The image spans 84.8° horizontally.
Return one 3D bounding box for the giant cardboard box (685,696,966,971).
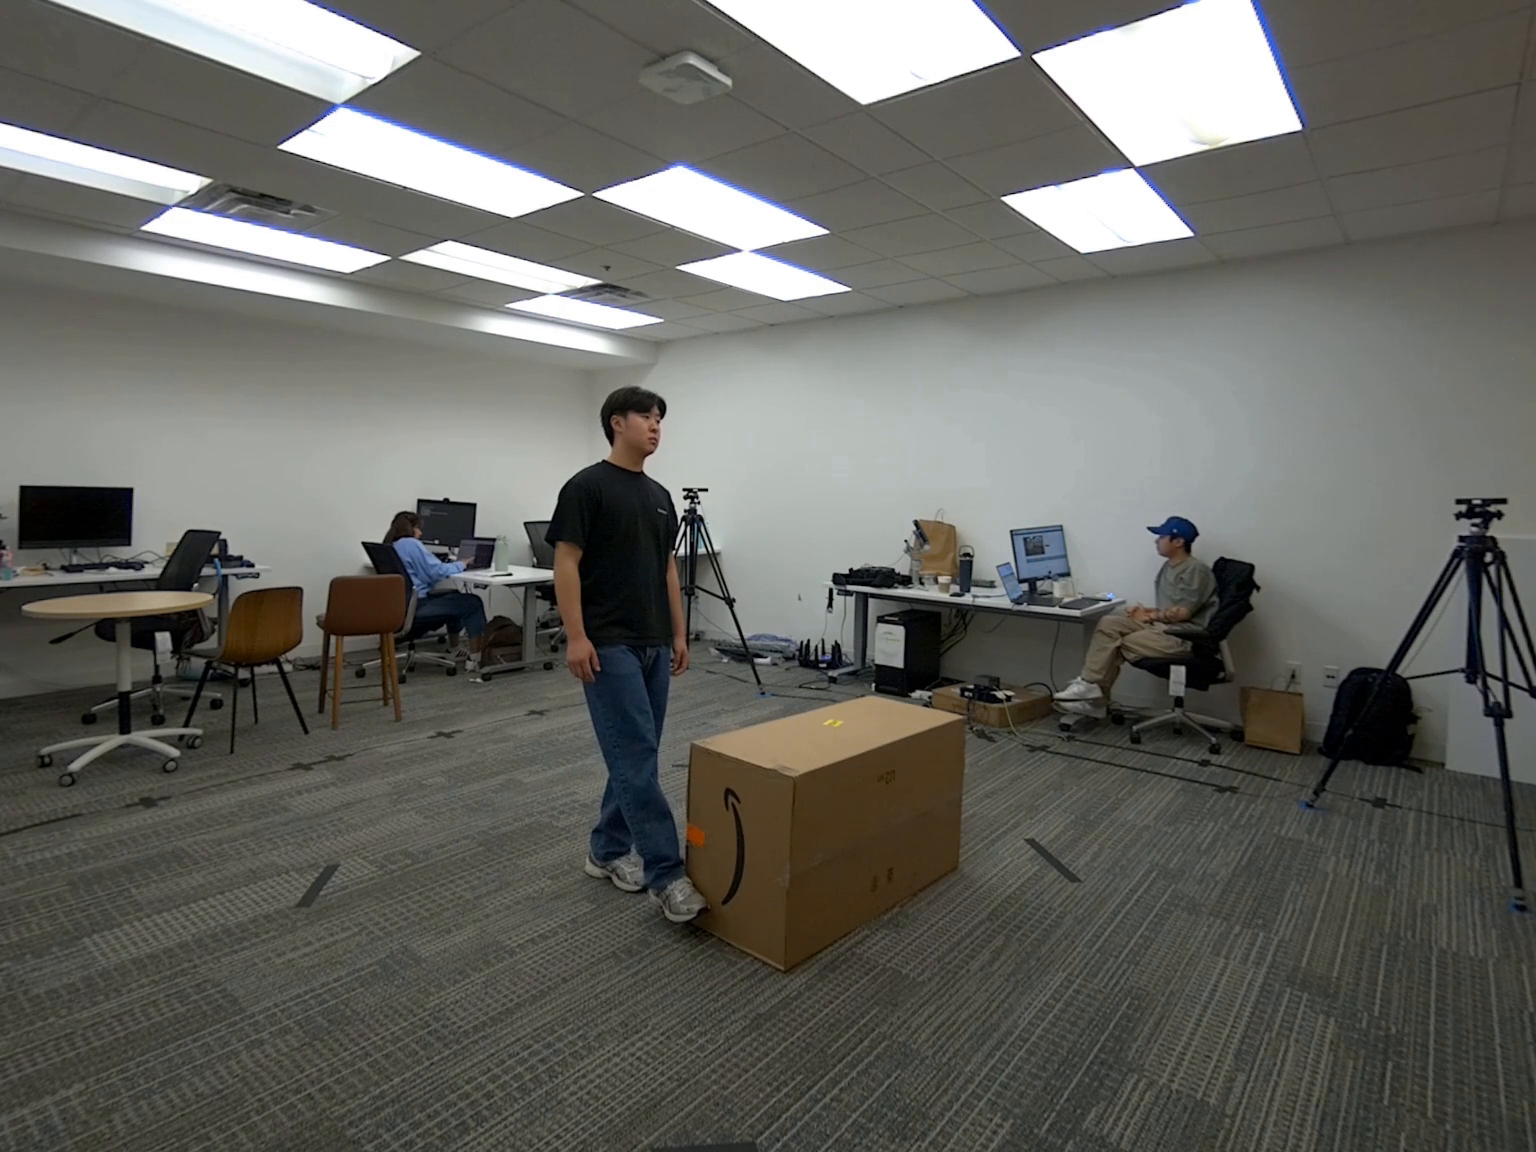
[{"bbox_3d":[0.223,0.807,2.944,0.462,0.582,0.996,3,5,41],"label":"giant cardboard box"}]
